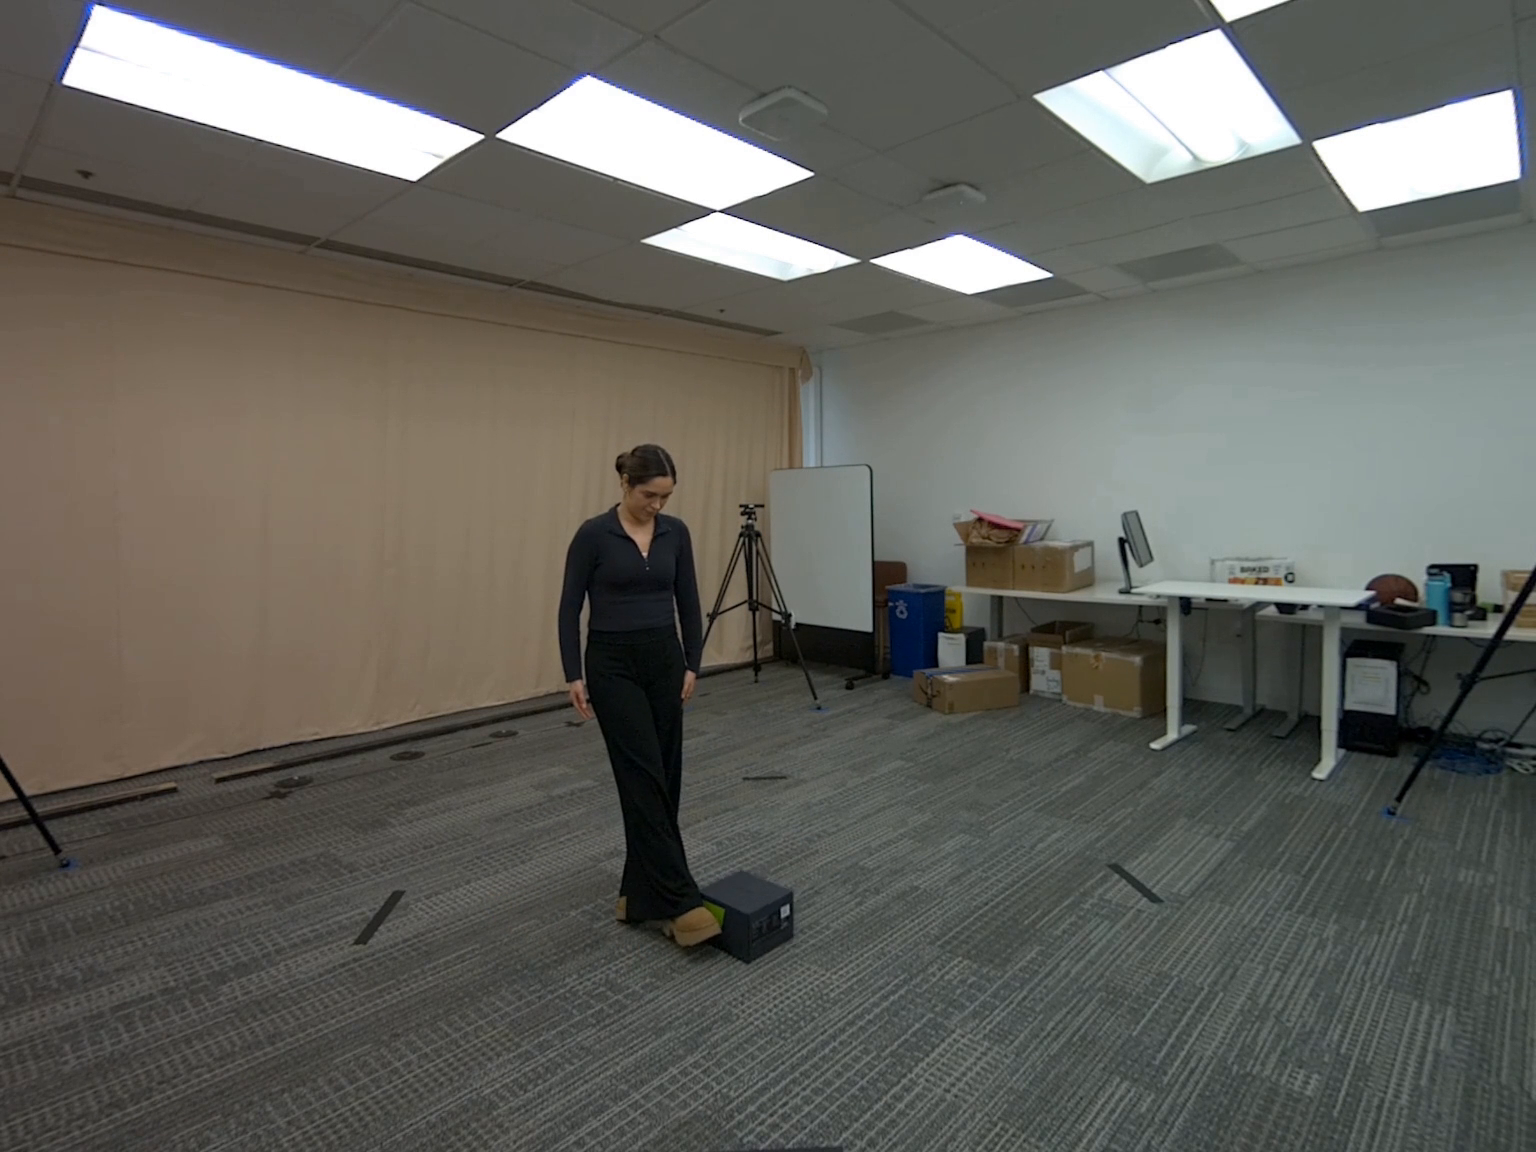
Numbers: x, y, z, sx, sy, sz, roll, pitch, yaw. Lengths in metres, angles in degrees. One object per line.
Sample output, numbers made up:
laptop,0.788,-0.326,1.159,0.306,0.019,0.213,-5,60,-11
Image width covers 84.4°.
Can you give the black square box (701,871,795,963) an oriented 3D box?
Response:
black square box,-0.068,1.086,2.694,0.235,0.155,0.210,4,7,43
